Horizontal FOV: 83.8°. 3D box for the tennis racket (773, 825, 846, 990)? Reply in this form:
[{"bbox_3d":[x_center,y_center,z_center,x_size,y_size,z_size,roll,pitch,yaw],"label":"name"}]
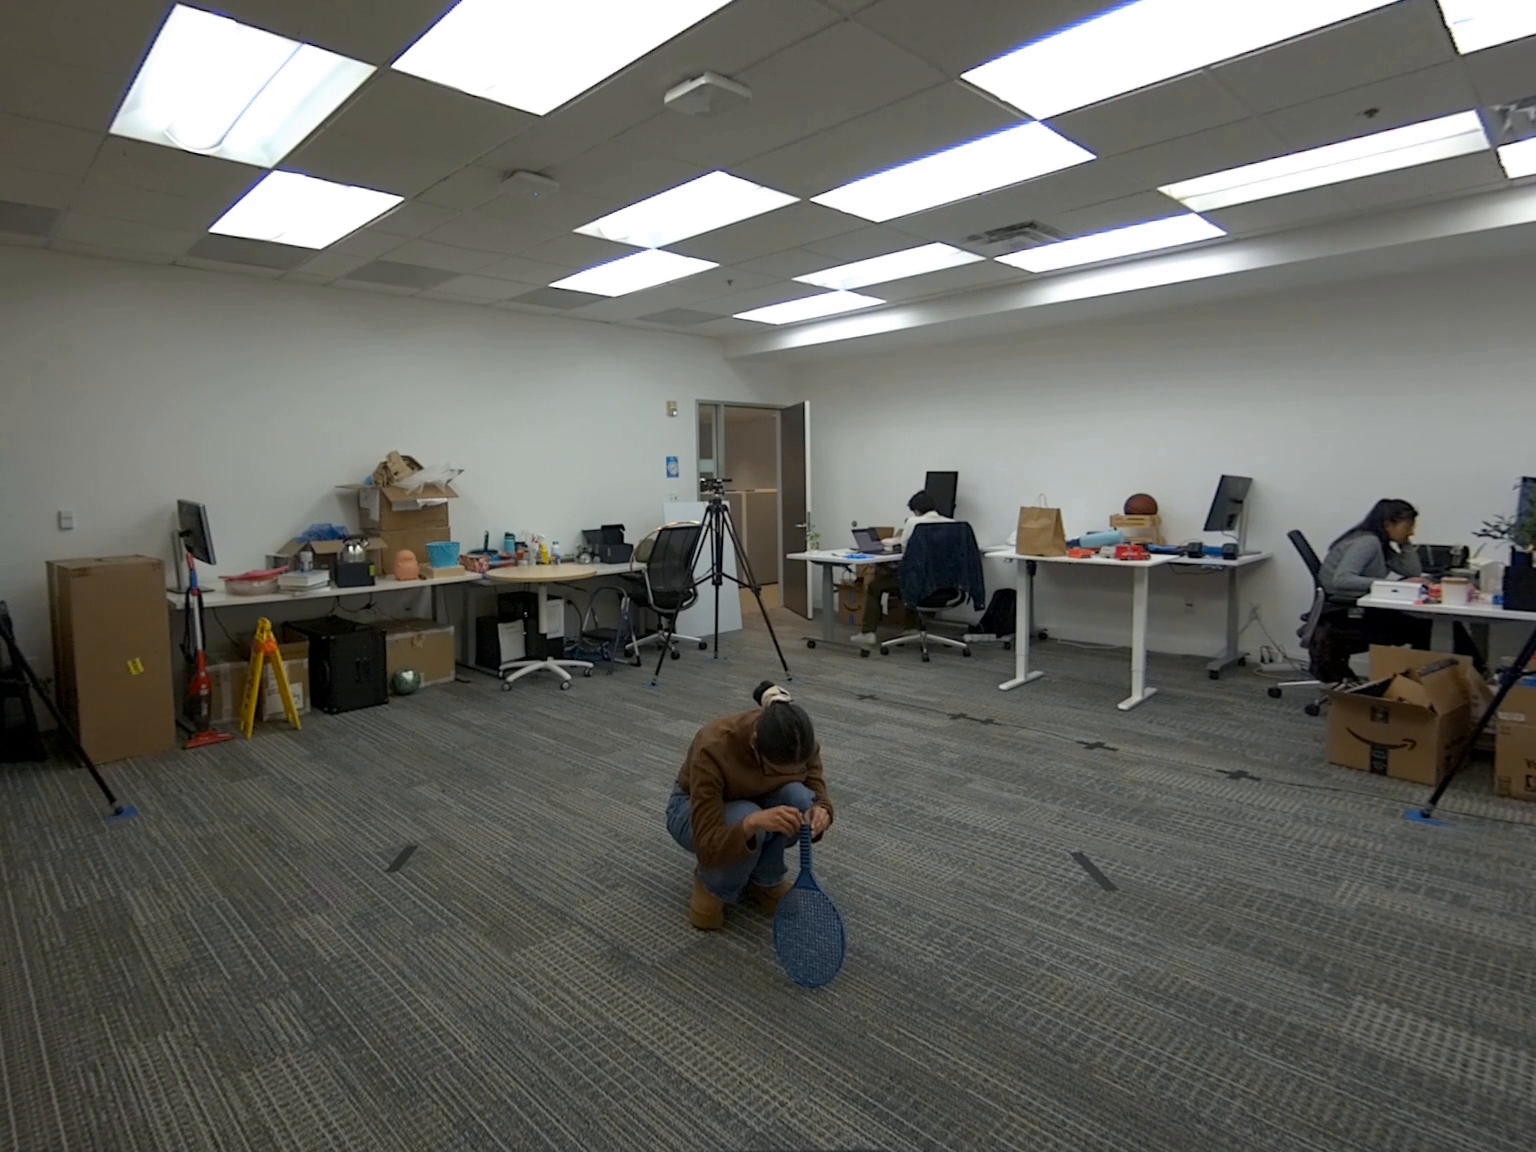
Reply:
[{"bbox_3d":[0.108,0.922,2.383,0.218,0.437,0.031,-11,-11,27],"label":"tennis racket"}]
